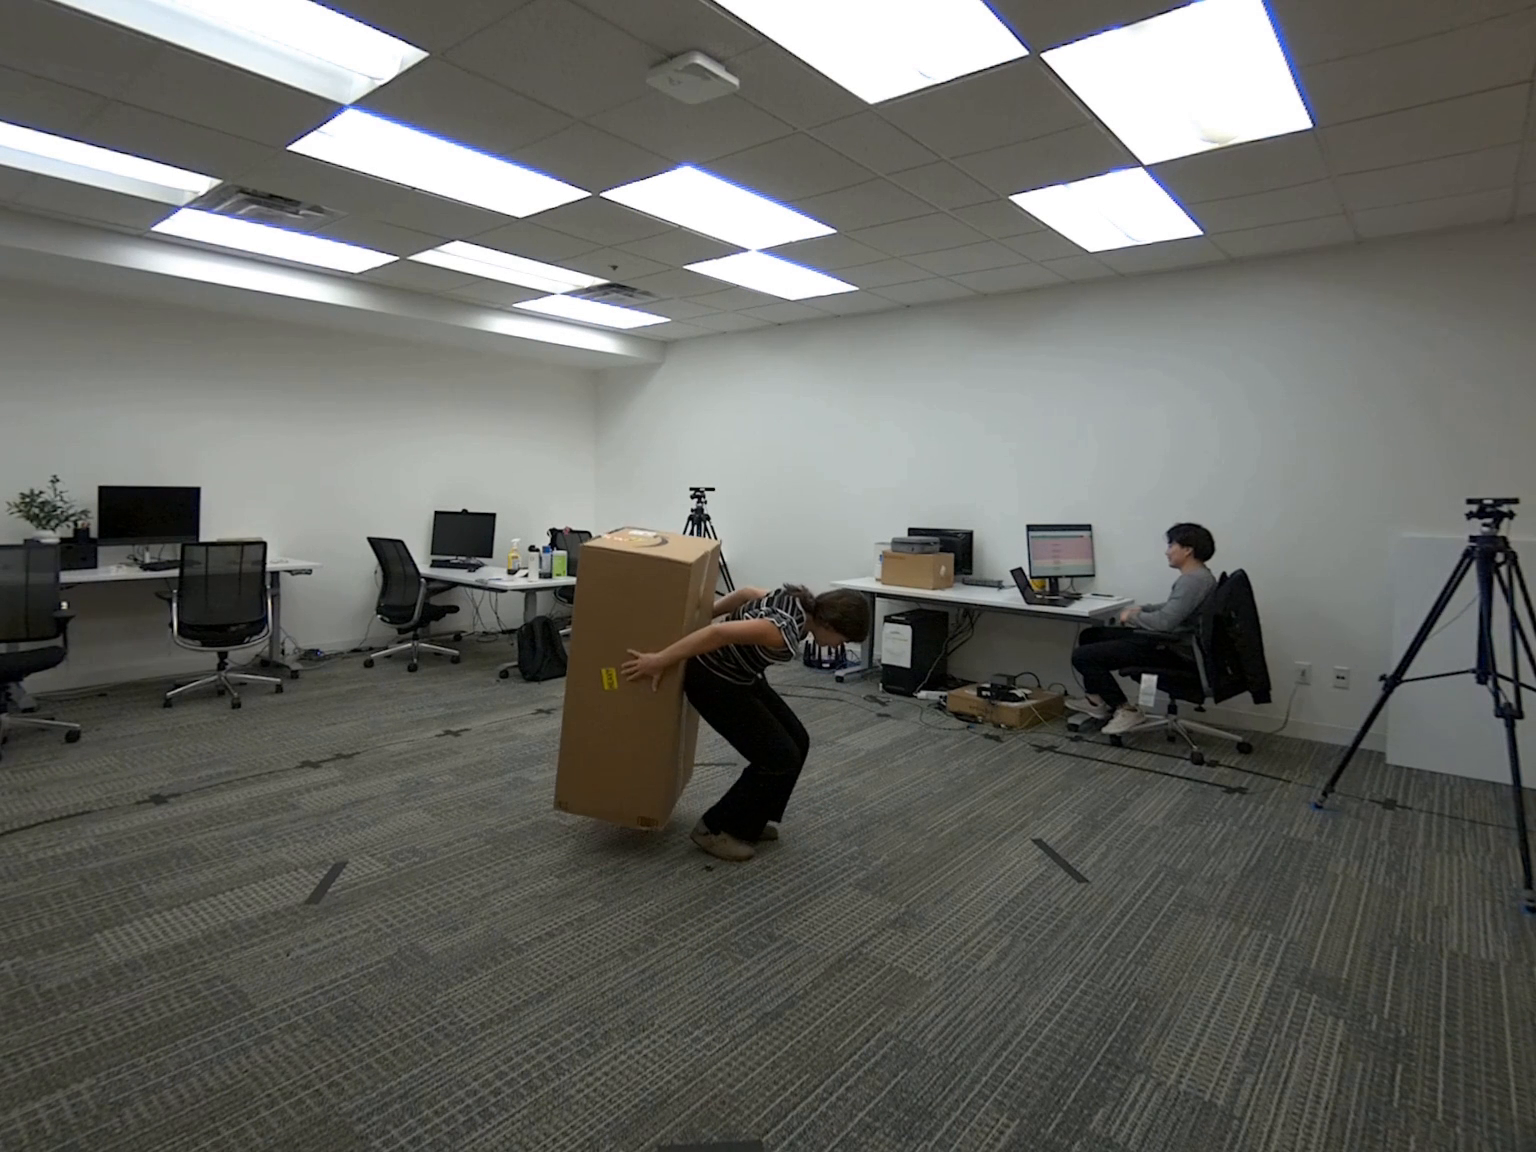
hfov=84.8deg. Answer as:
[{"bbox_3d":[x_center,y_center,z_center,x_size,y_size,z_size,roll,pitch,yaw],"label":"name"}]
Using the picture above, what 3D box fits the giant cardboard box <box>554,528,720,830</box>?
[{"bbox_3d":[-0.516,0.357,3.364,0.431,1.019,0.575,9,9,8],"label":"giant cardboard box"}]
